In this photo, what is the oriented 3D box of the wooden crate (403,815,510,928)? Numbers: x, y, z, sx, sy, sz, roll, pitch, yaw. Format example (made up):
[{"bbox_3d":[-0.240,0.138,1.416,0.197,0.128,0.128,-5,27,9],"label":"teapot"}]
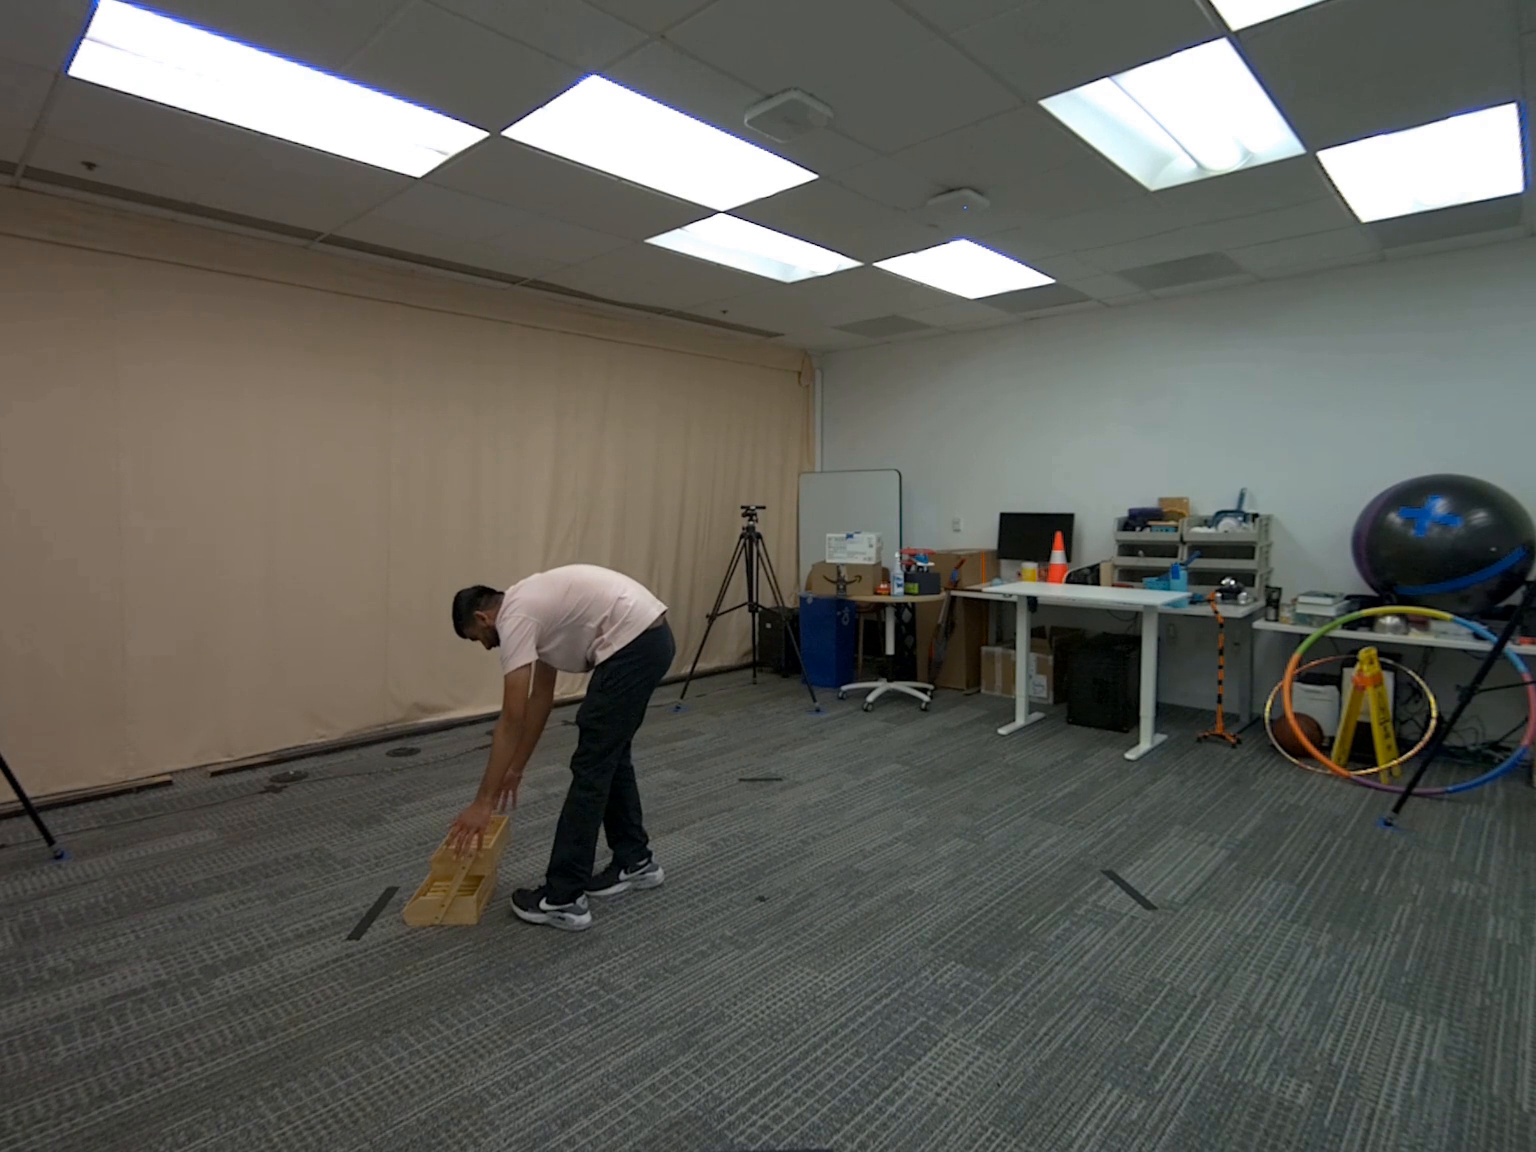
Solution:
[{"bbox_3d":[-1.094,1.026,2.961,0.301,0.273,0.326,1,3,-4],"label":"wooden crate"}]
